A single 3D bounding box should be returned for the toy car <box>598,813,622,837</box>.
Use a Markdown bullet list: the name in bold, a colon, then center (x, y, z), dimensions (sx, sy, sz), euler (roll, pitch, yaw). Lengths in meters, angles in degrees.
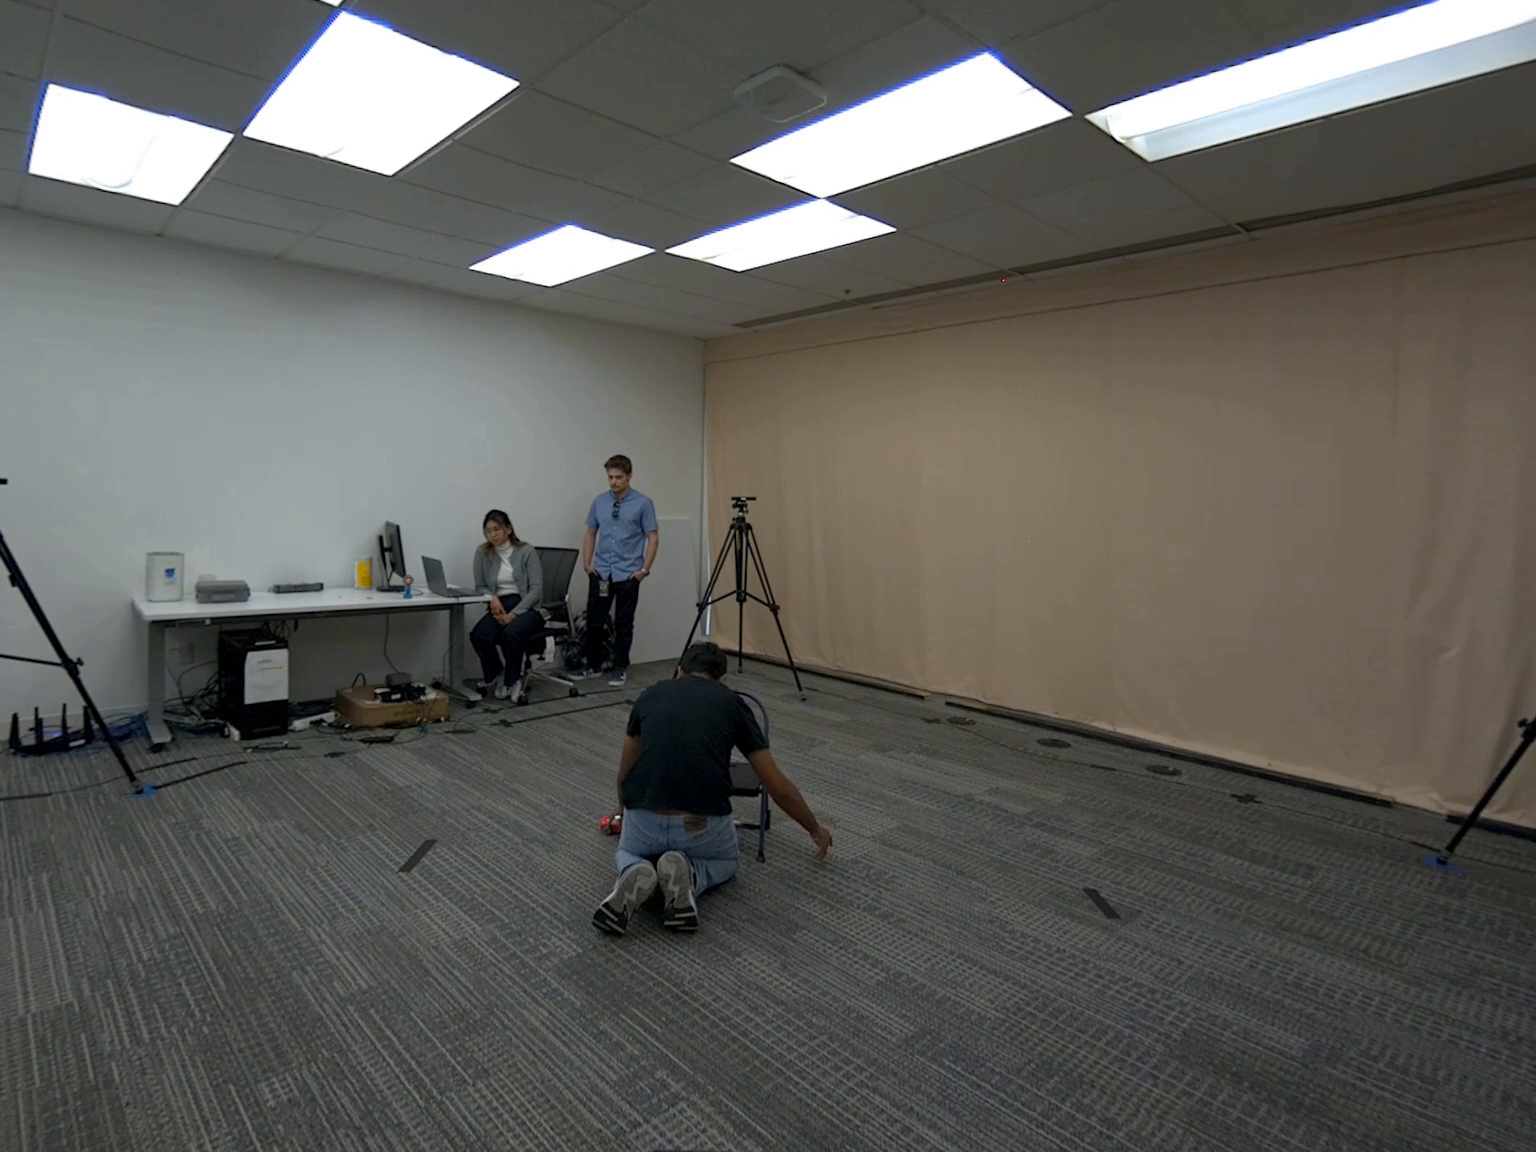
- **toy car**: center (-0.553, 1.035, 3.496), dimensions (0.255, 0.083, 0.130), euler (-11, 5, 5)
